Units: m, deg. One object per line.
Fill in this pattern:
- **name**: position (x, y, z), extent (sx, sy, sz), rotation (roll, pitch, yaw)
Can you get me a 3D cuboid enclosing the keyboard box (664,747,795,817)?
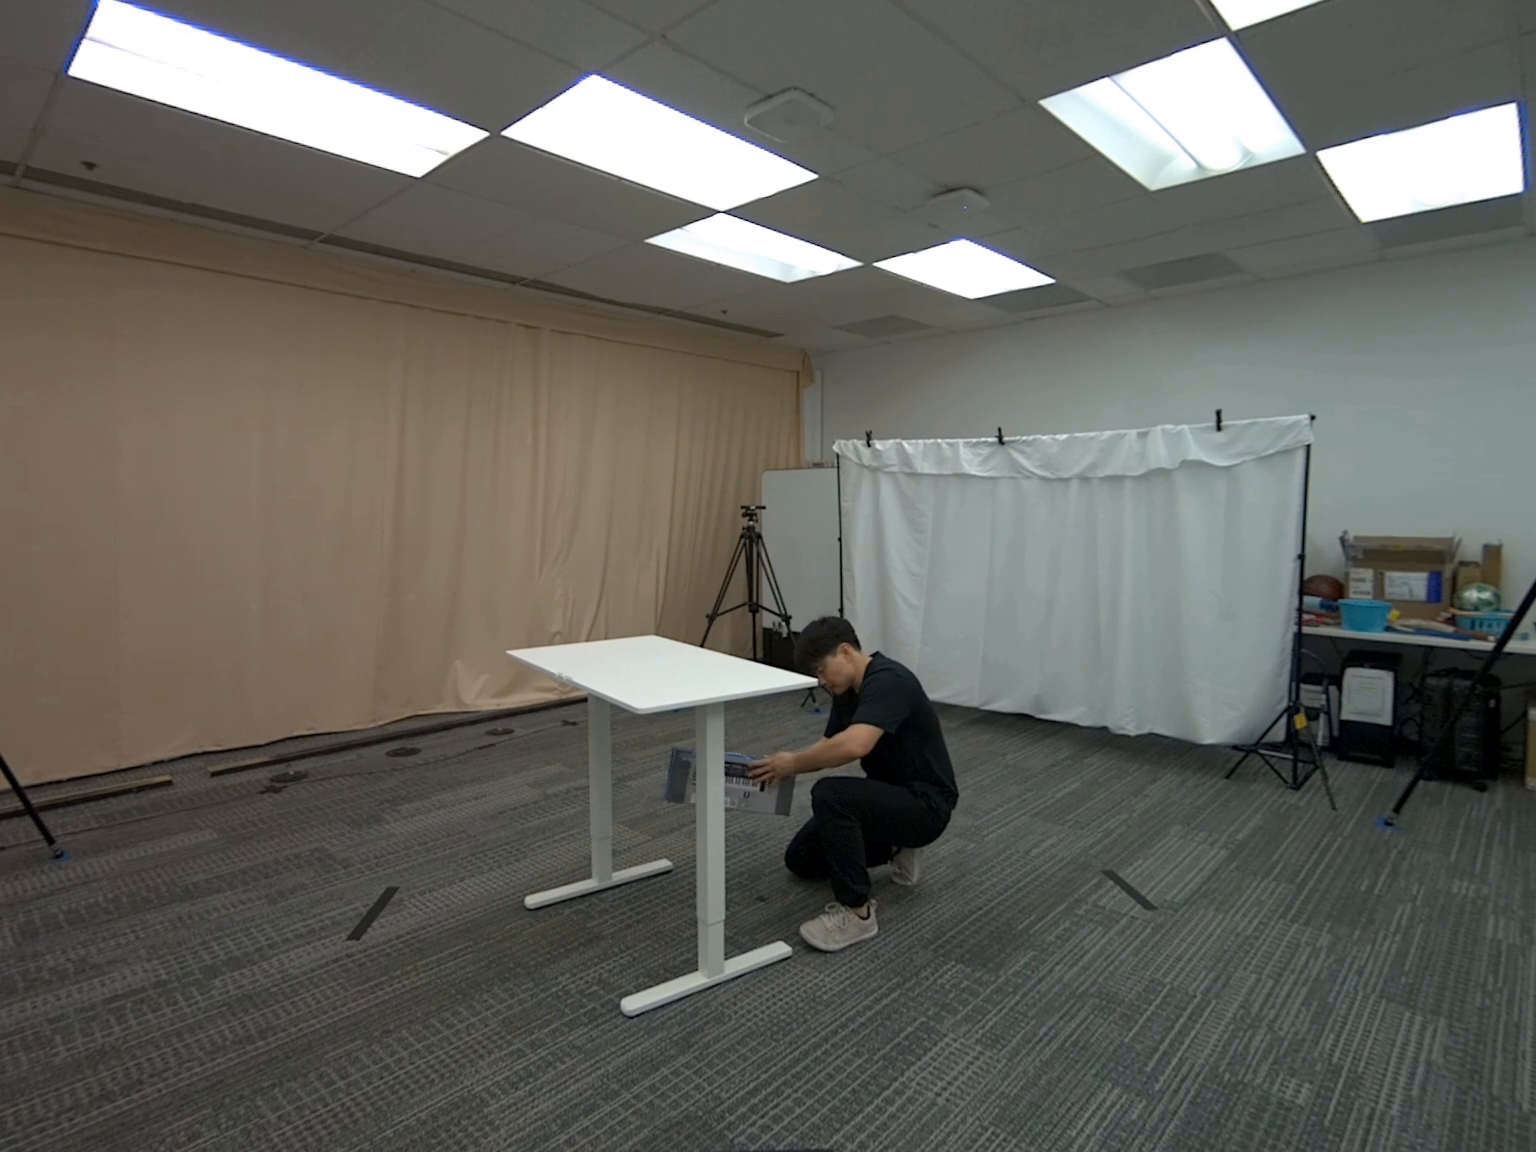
- **keyboard box**: position (-0.118, 0.709, 2.846), extent (0.429, 0.176, 0.060), rotation (11, -7, -15)
